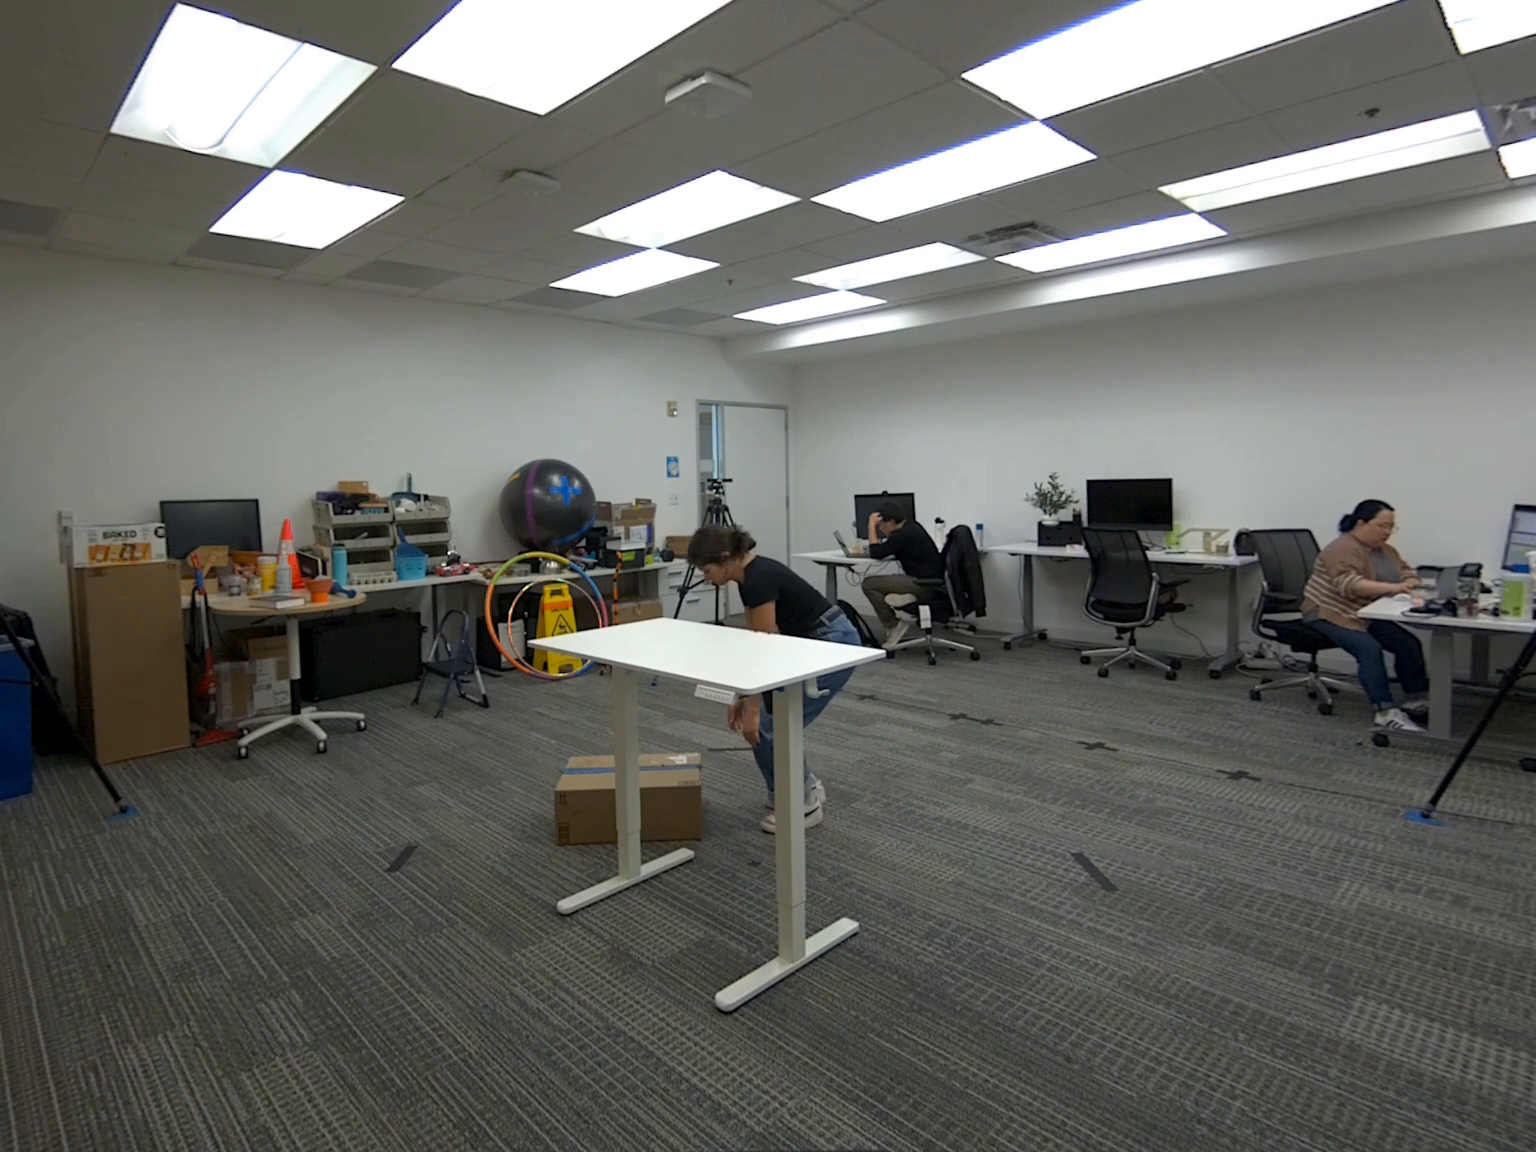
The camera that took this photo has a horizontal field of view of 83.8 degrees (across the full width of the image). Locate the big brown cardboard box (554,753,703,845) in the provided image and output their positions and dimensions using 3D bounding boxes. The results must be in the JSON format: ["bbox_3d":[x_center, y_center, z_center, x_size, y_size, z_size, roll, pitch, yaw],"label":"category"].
[{"bbox_3d":[-0.551,0.899,3.499,0.587,0.232,0.421,-3,5,-4],"label":"big brown cardboard box"}]
